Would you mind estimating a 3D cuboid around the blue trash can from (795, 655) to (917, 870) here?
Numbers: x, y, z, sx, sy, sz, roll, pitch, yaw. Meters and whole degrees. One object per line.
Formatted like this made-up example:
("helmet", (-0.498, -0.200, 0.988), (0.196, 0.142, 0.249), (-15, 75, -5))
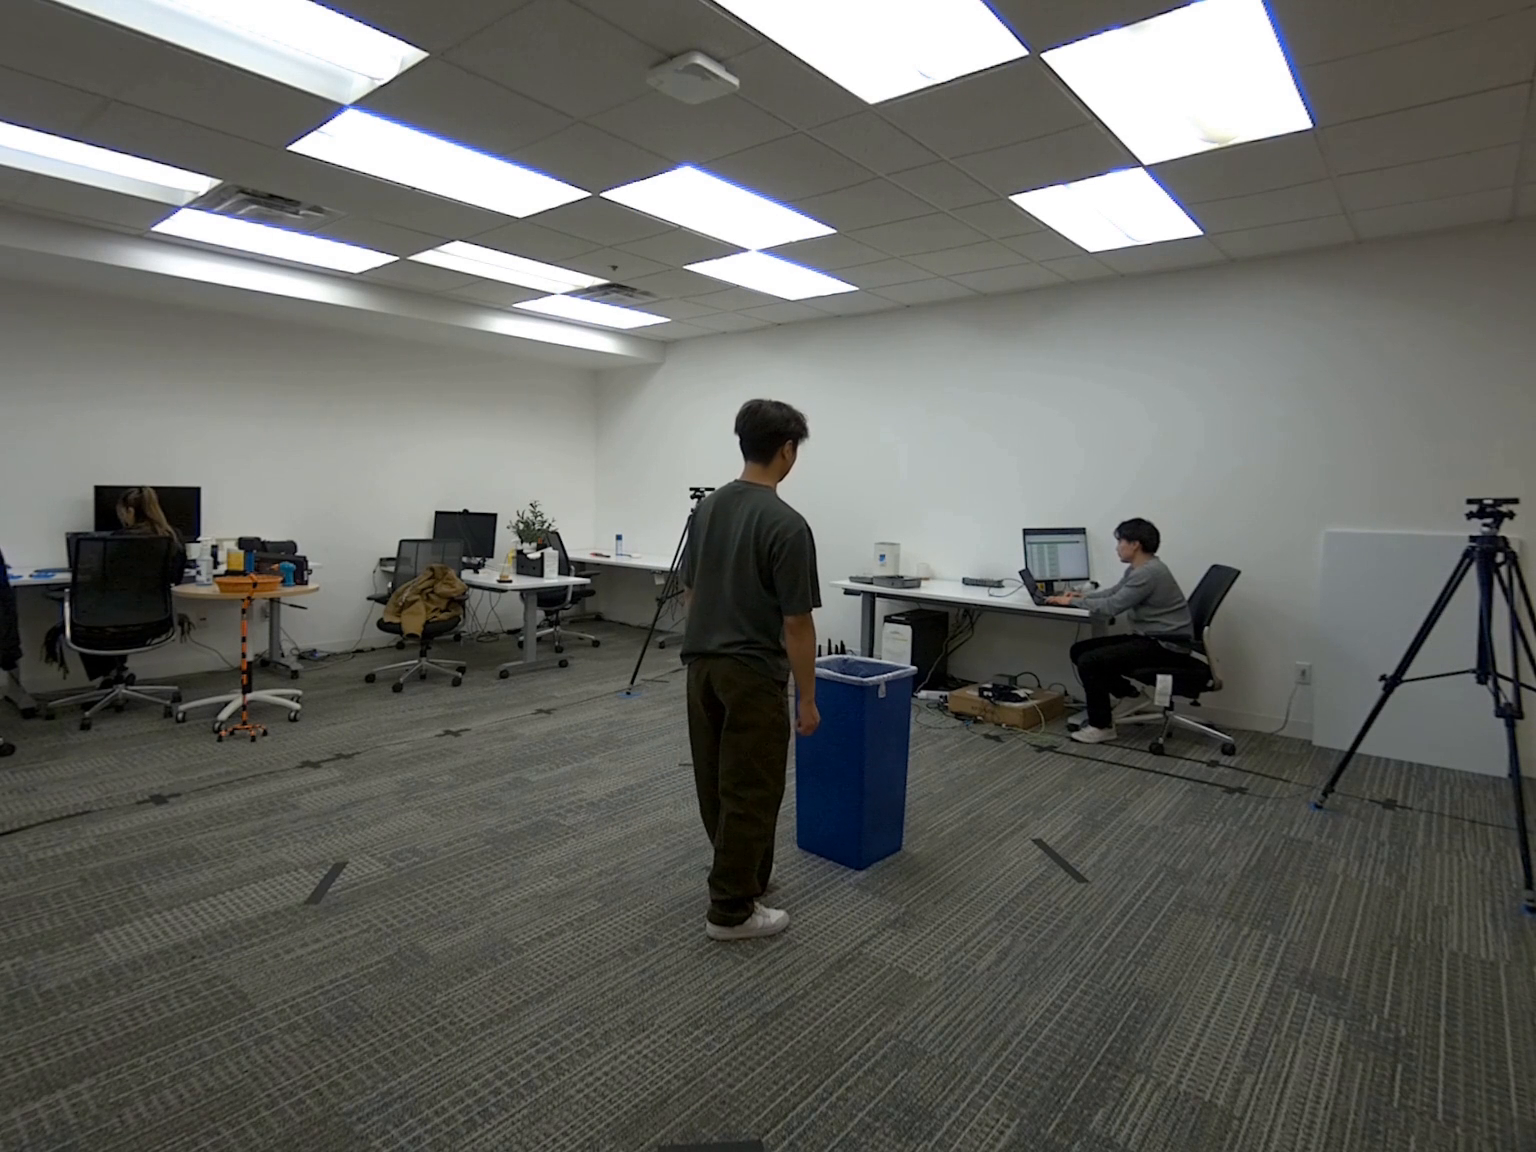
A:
("blue trash can", (0.318, 0.701, 3.300), (0.391, 0.712, 0.362), (4, 3, 41))
